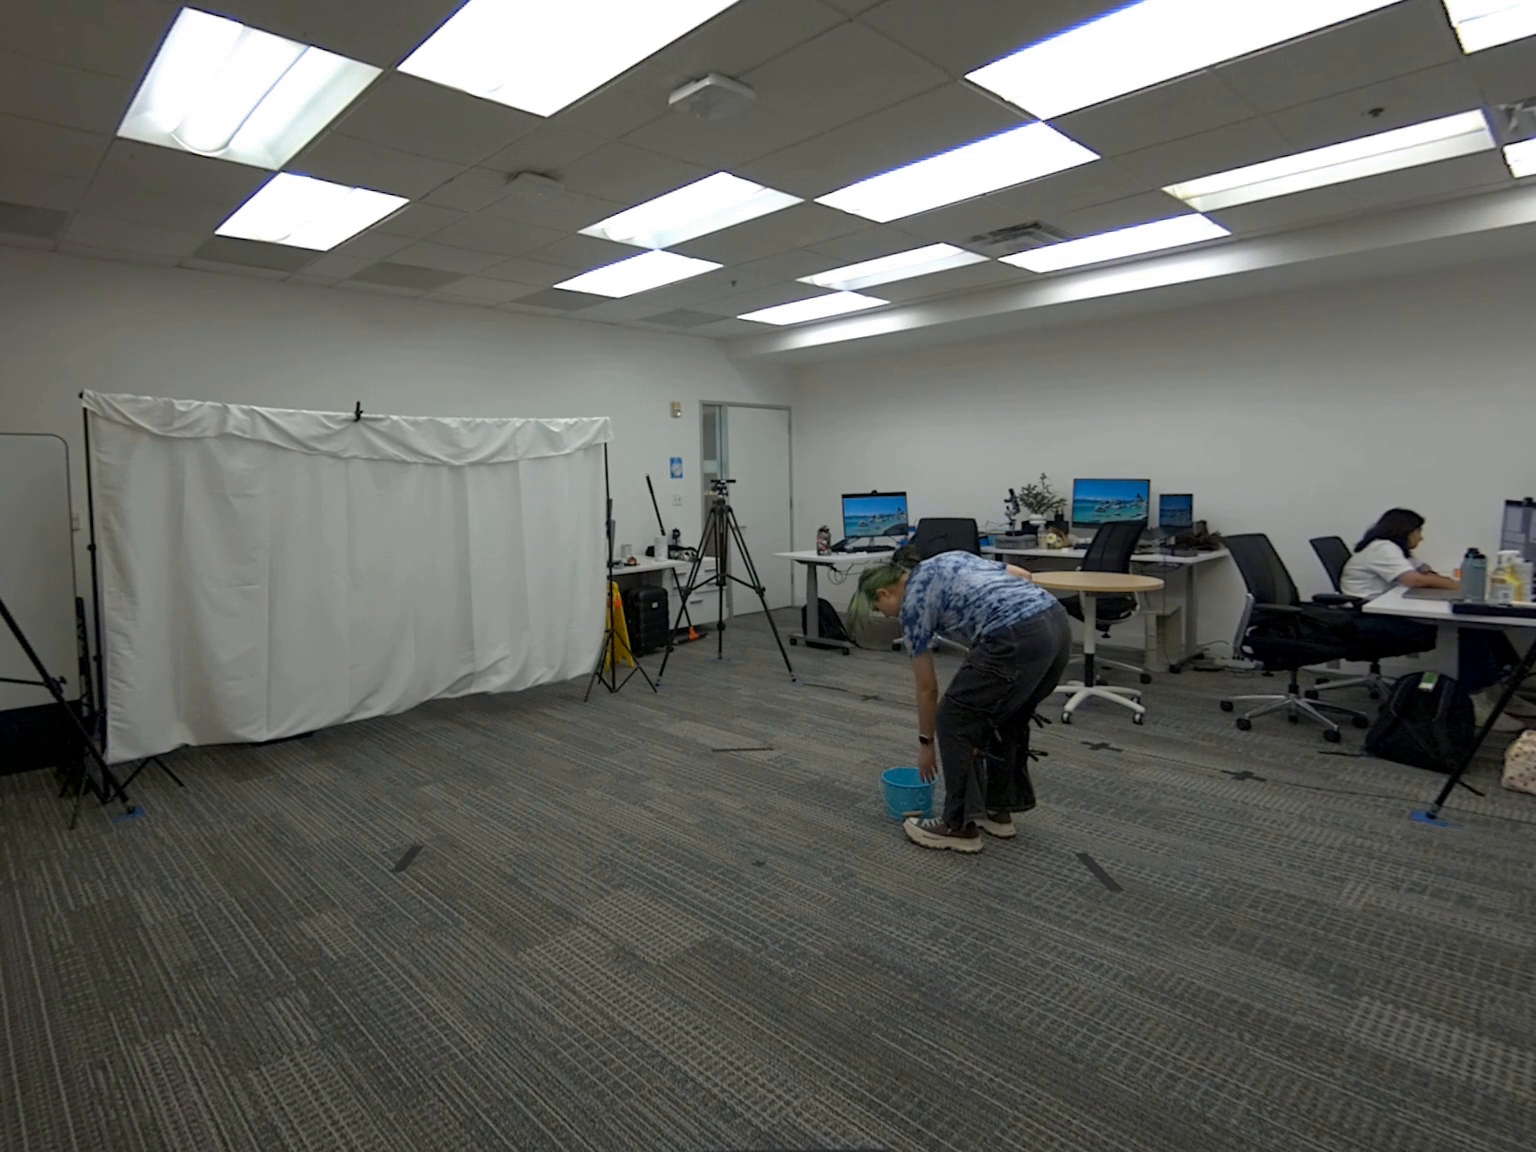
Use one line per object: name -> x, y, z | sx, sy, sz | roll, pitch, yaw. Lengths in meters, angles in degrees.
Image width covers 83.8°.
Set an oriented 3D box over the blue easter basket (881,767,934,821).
blue easter basket -> 0.589, 0.909, 3.555 | 0.243, 0.155, 0.245 | -2, 6, -2
